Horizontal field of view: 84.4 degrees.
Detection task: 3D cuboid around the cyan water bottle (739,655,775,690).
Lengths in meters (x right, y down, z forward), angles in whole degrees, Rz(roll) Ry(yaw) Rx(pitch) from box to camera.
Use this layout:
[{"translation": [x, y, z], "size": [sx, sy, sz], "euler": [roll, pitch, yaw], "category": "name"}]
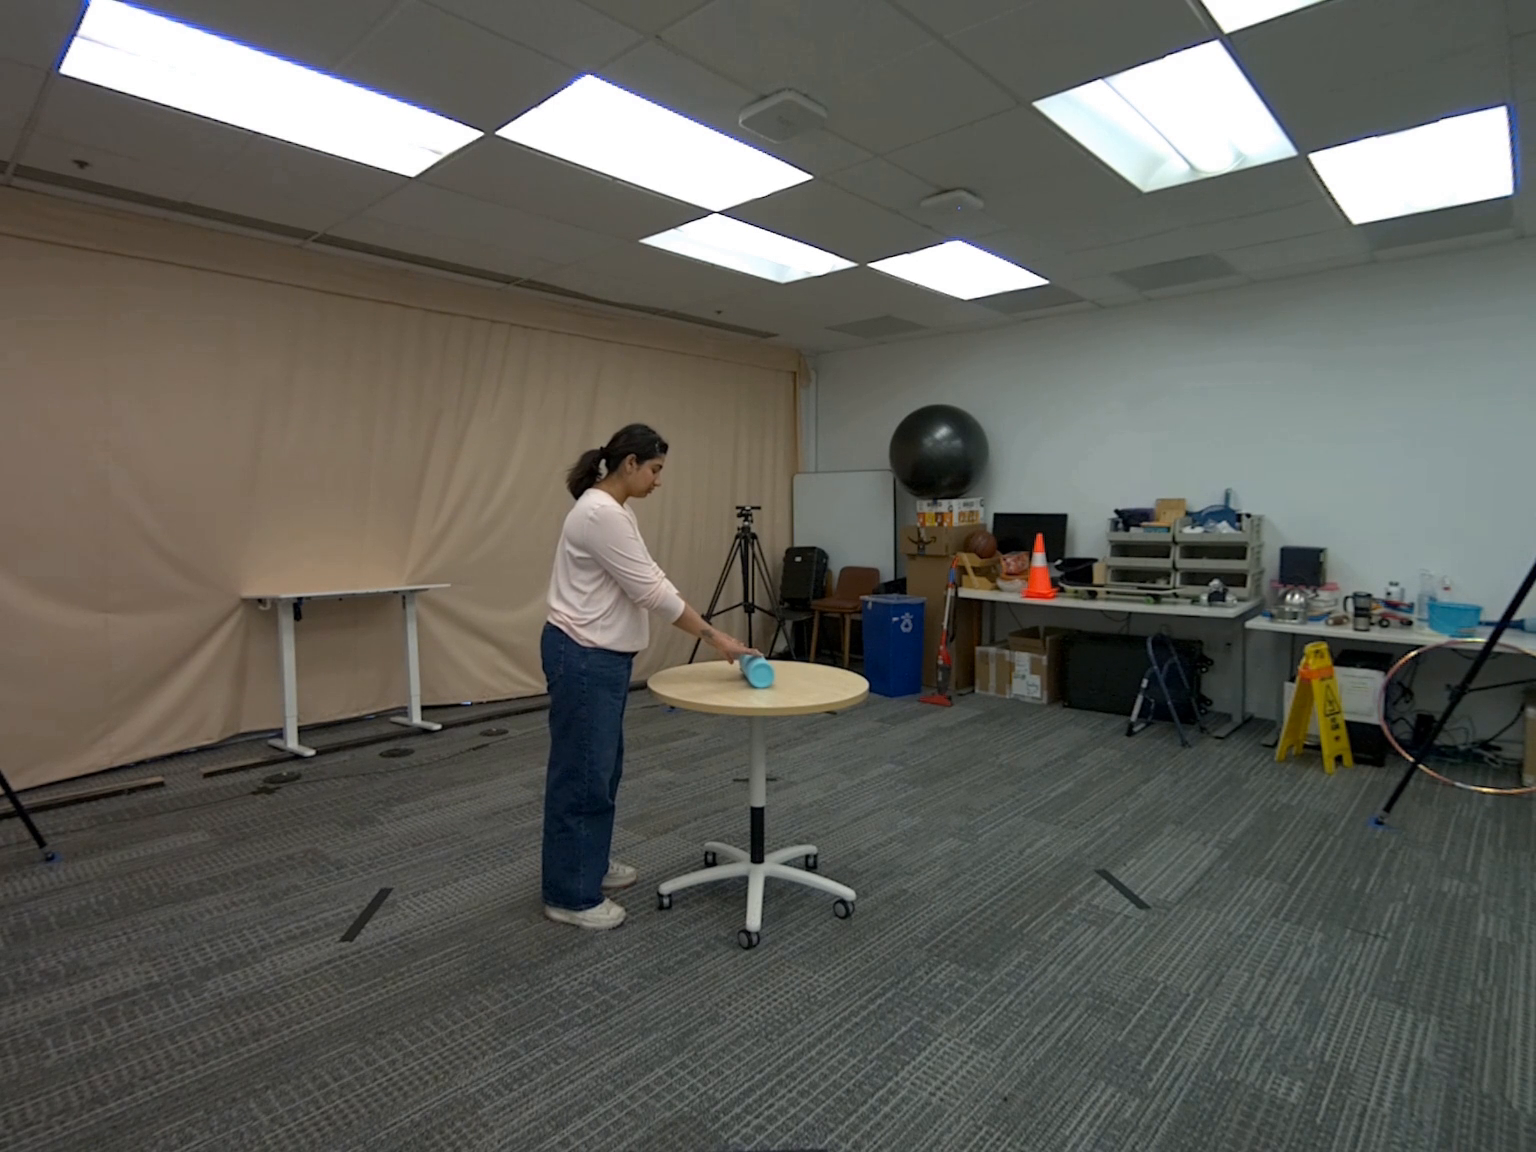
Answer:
[{"translation": [-0.042, 0.319, 2.934], "size": [0.091, 0.092, 0.287], "euler": [-1, 5, -10], "category": "cyan water bottle"}]
